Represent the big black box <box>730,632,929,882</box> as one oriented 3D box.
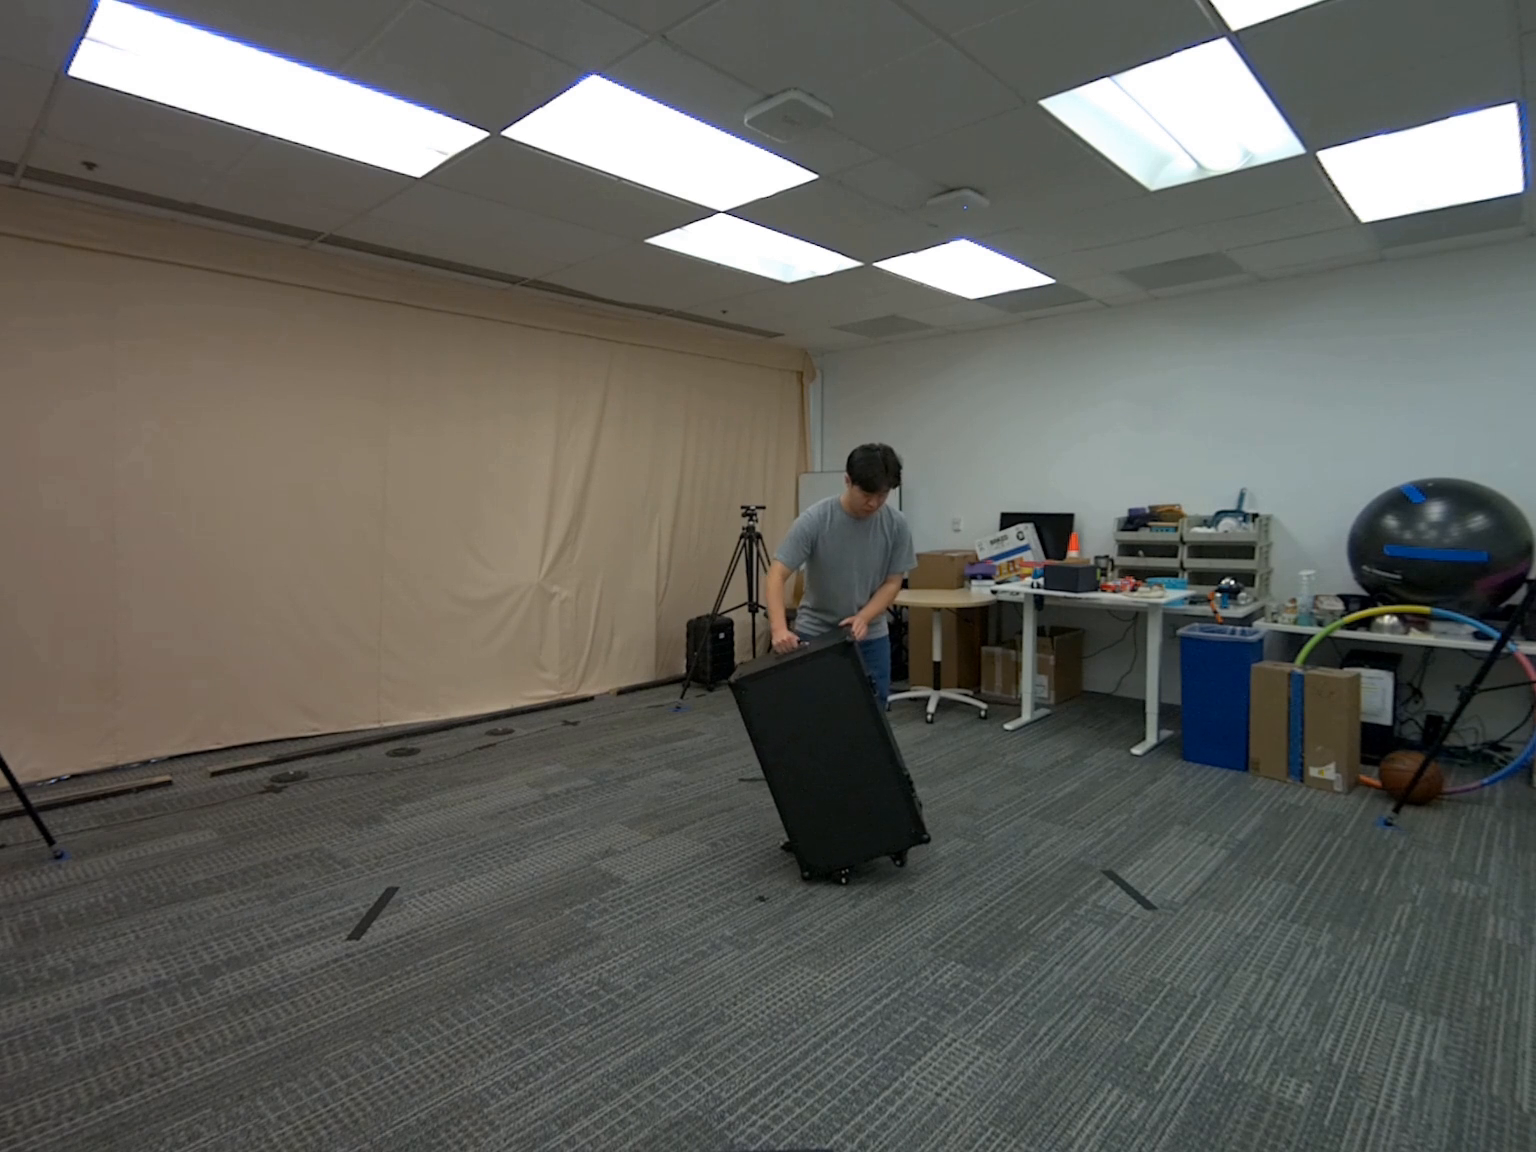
[{"bbox_3d":[0.249,0.686,3.226,0.525,0.862,0.393,-21,-1,8],"label":"big black box"}]
